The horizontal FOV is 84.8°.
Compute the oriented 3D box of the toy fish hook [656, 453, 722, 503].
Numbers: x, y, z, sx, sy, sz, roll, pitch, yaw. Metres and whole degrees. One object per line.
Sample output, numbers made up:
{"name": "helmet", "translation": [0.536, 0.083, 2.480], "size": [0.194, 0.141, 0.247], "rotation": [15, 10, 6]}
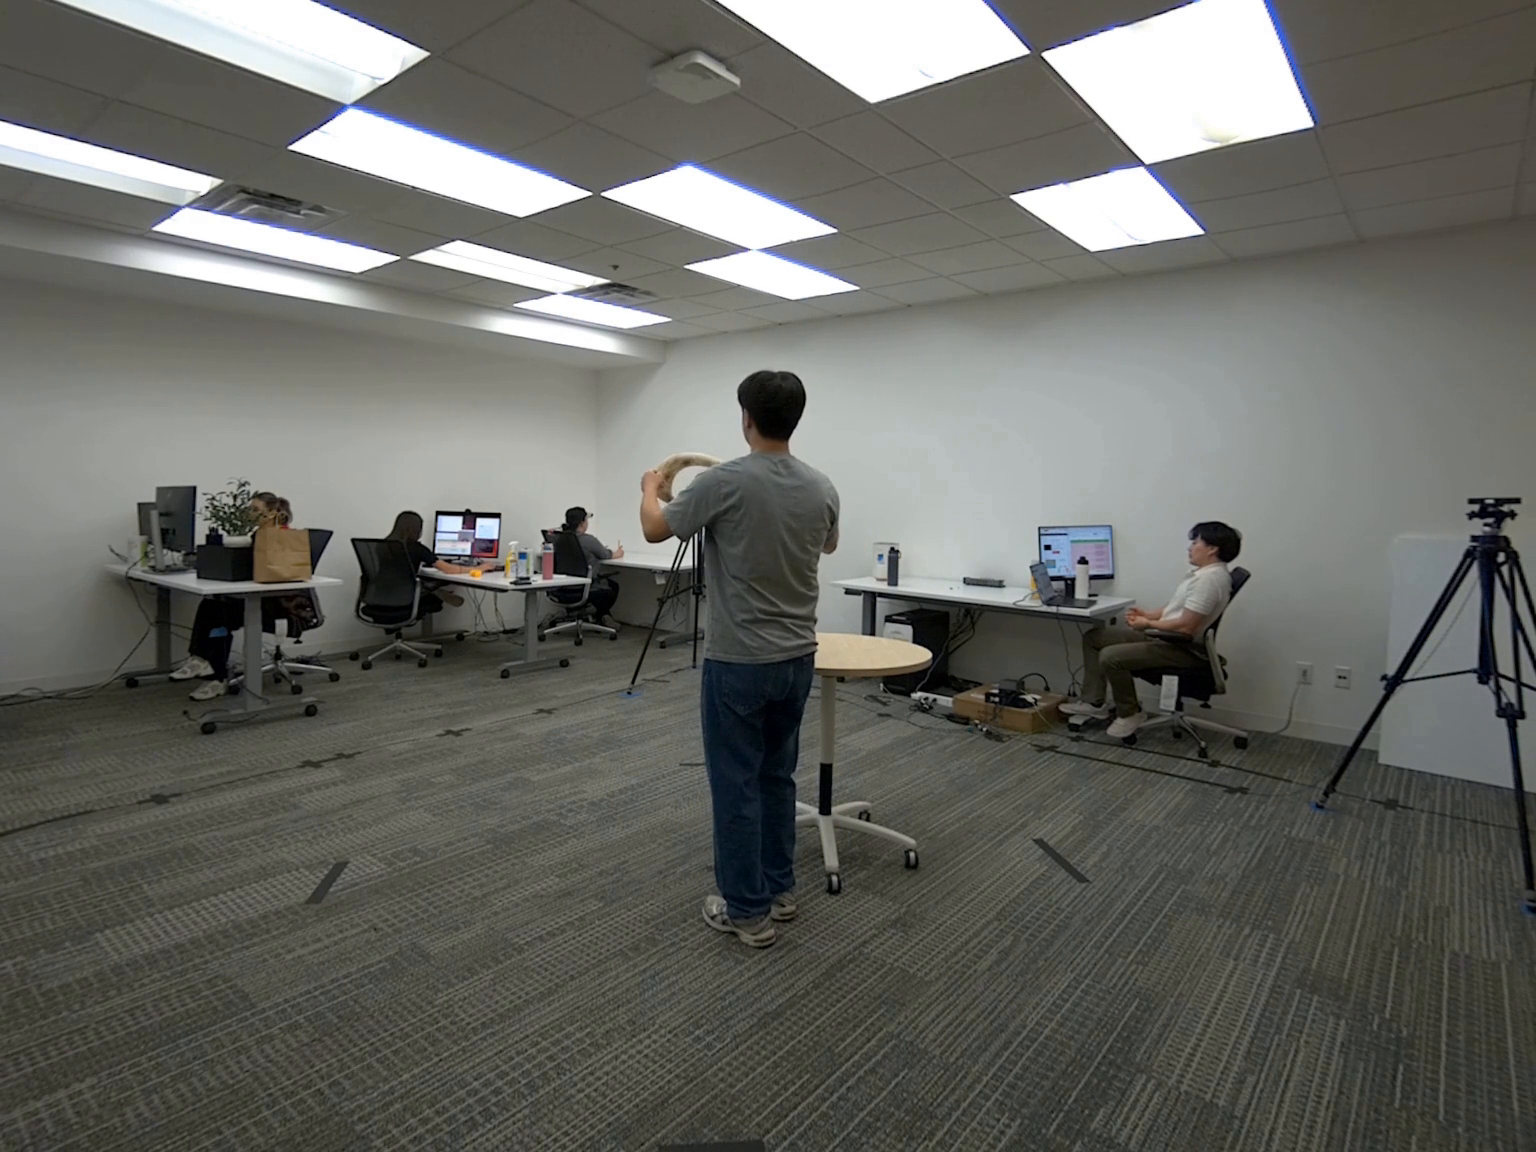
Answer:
{"name": "toy fish hook", "translation": [-0.160, -0.344, 3.086], "size": [0.498, 0.220, 0.050], "rotation": [-1, 30, -16]}
